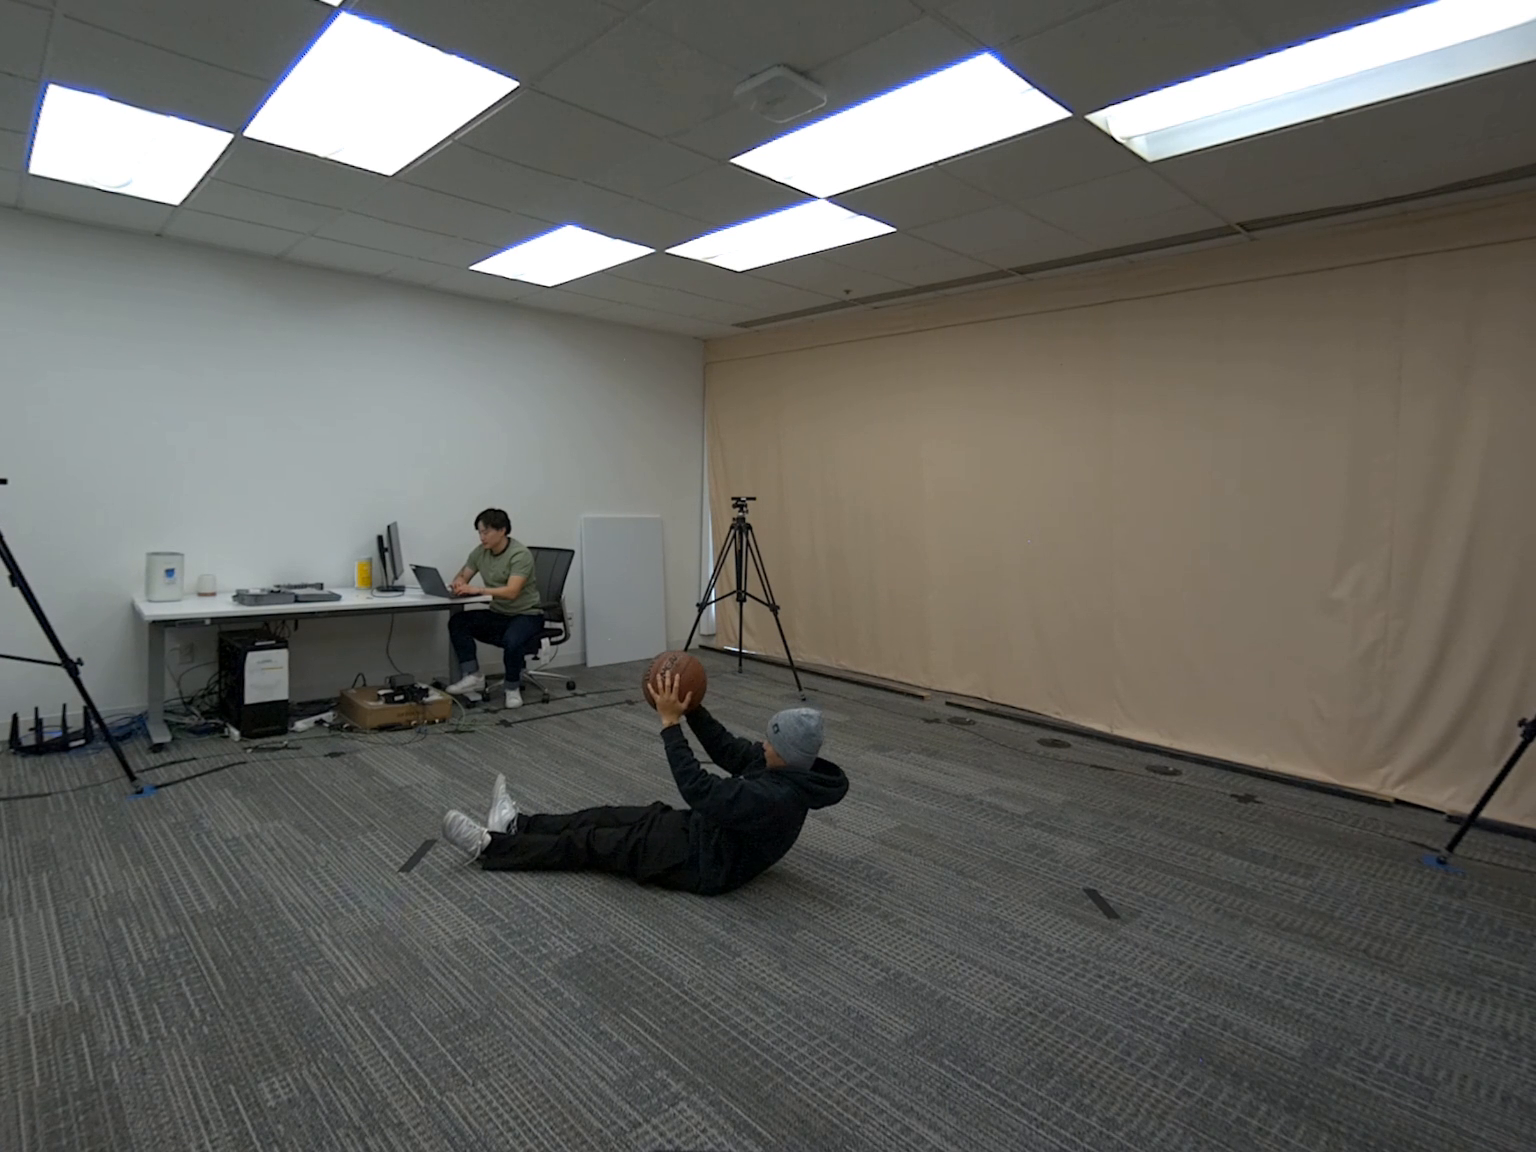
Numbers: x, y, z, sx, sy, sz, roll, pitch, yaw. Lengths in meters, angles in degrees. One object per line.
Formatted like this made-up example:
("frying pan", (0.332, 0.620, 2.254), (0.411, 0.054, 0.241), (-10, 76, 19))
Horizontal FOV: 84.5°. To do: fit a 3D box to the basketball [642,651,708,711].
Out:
("basketball", (-0.350, 0.395, 3.087), (0.236, 0.235, 0.237), (1, 4, -1))
